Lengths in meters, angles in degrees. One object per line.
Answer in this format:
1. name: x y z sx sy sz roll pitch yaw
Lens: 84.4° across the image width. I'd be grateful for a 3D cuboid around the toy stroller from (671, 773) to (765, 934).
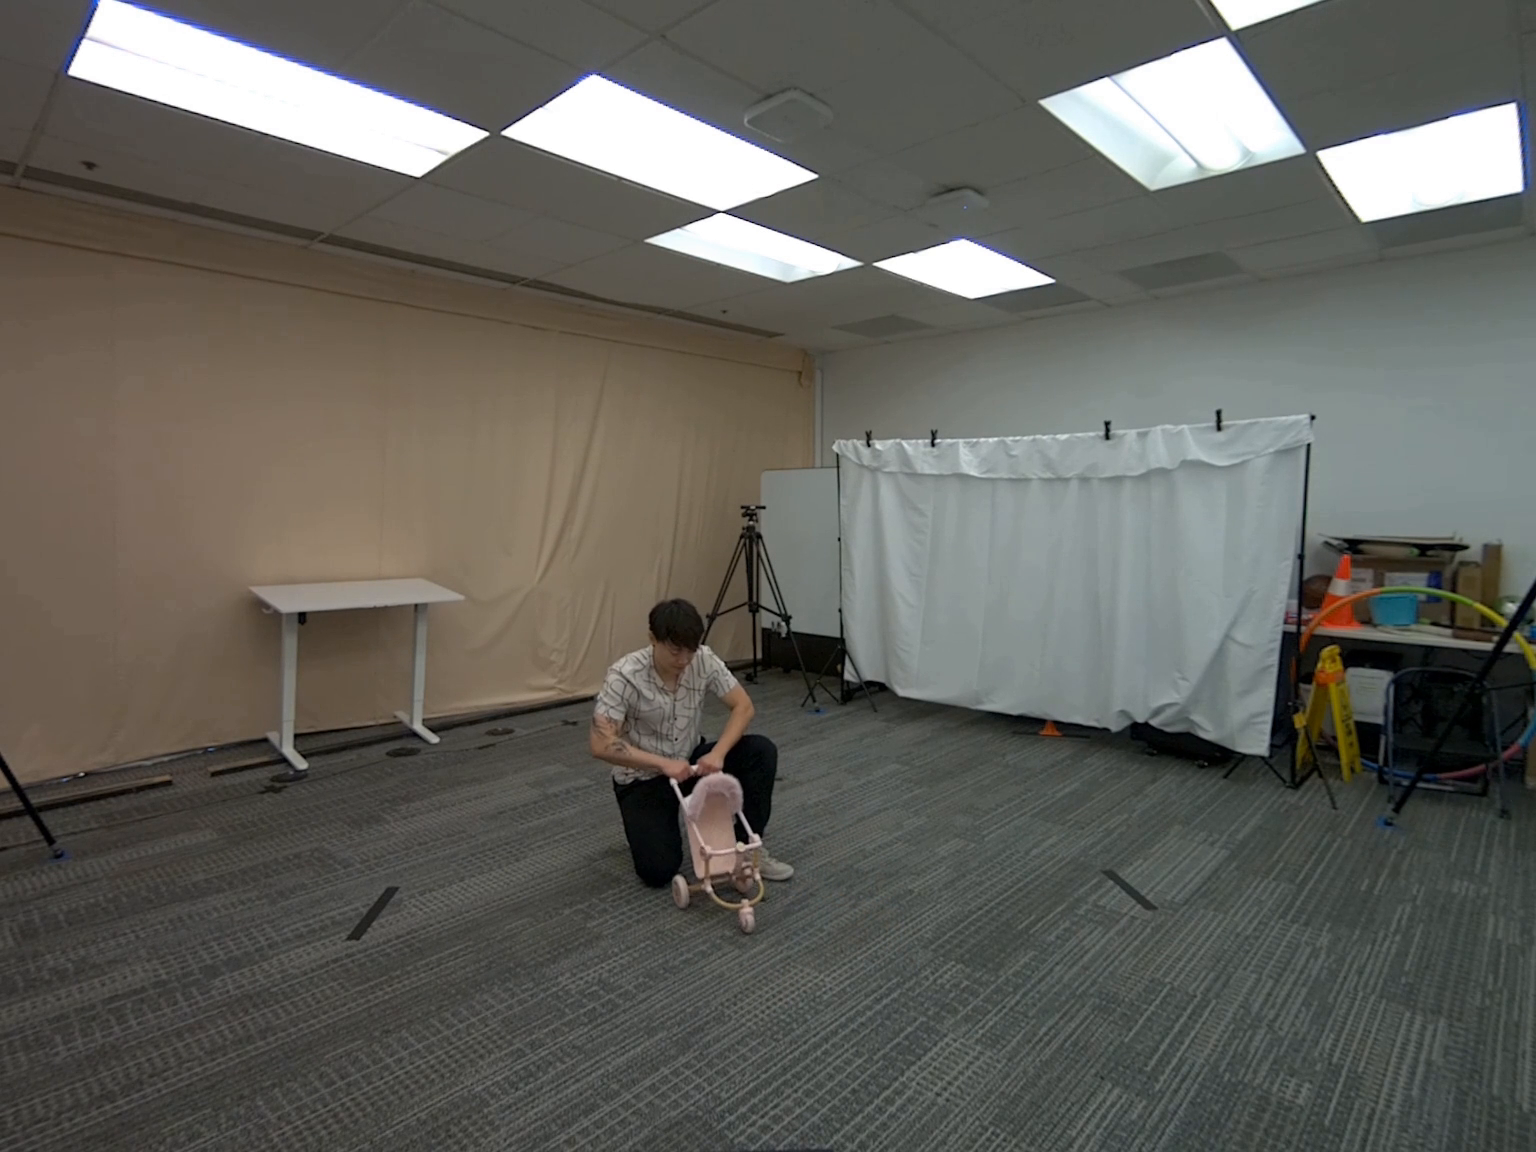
1. toy stroller: -0.159 0.919 2.907 0.275 0.539 0.346 -2 -12 -25
